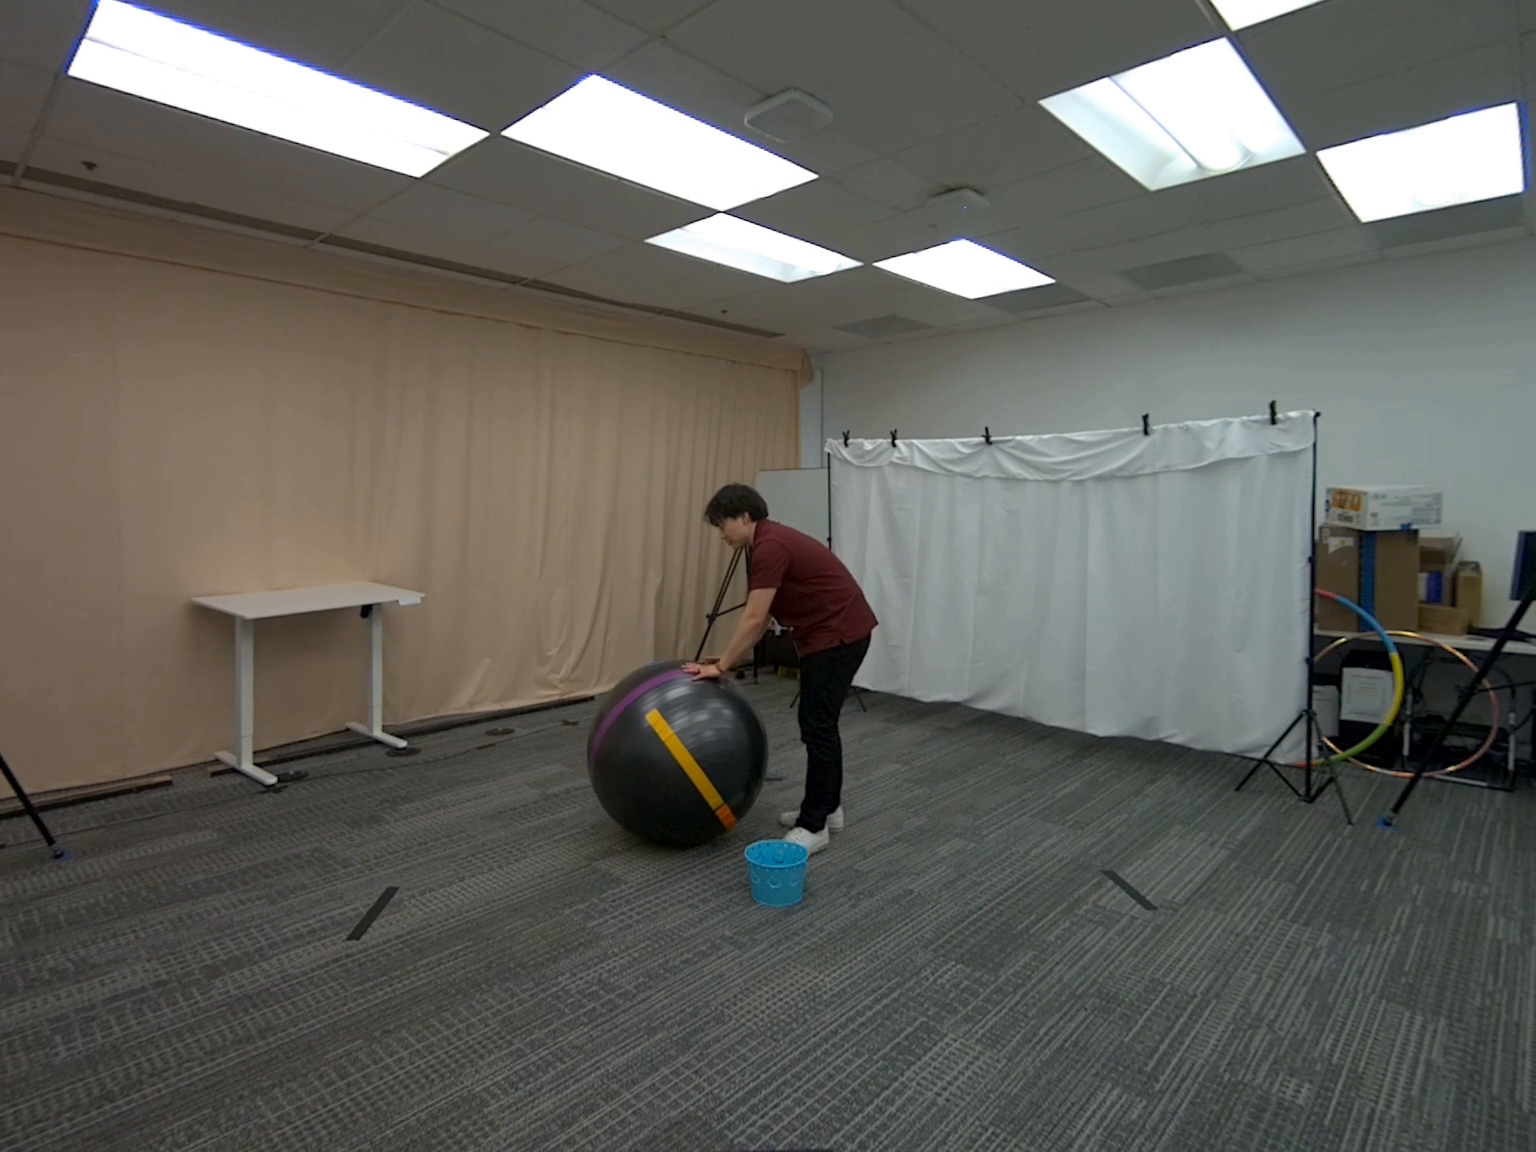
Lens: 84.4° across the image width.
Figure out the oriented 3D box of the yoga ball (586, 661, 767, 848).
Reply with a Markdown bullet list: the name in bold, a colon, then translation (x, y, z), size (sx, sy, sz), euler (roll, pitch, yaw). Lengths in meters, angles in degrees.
- **yoga ball**: translation (-0.379, 0.736, 3.541), size (0.757, 0.756, 0.760), euler (0, 4, -2)
